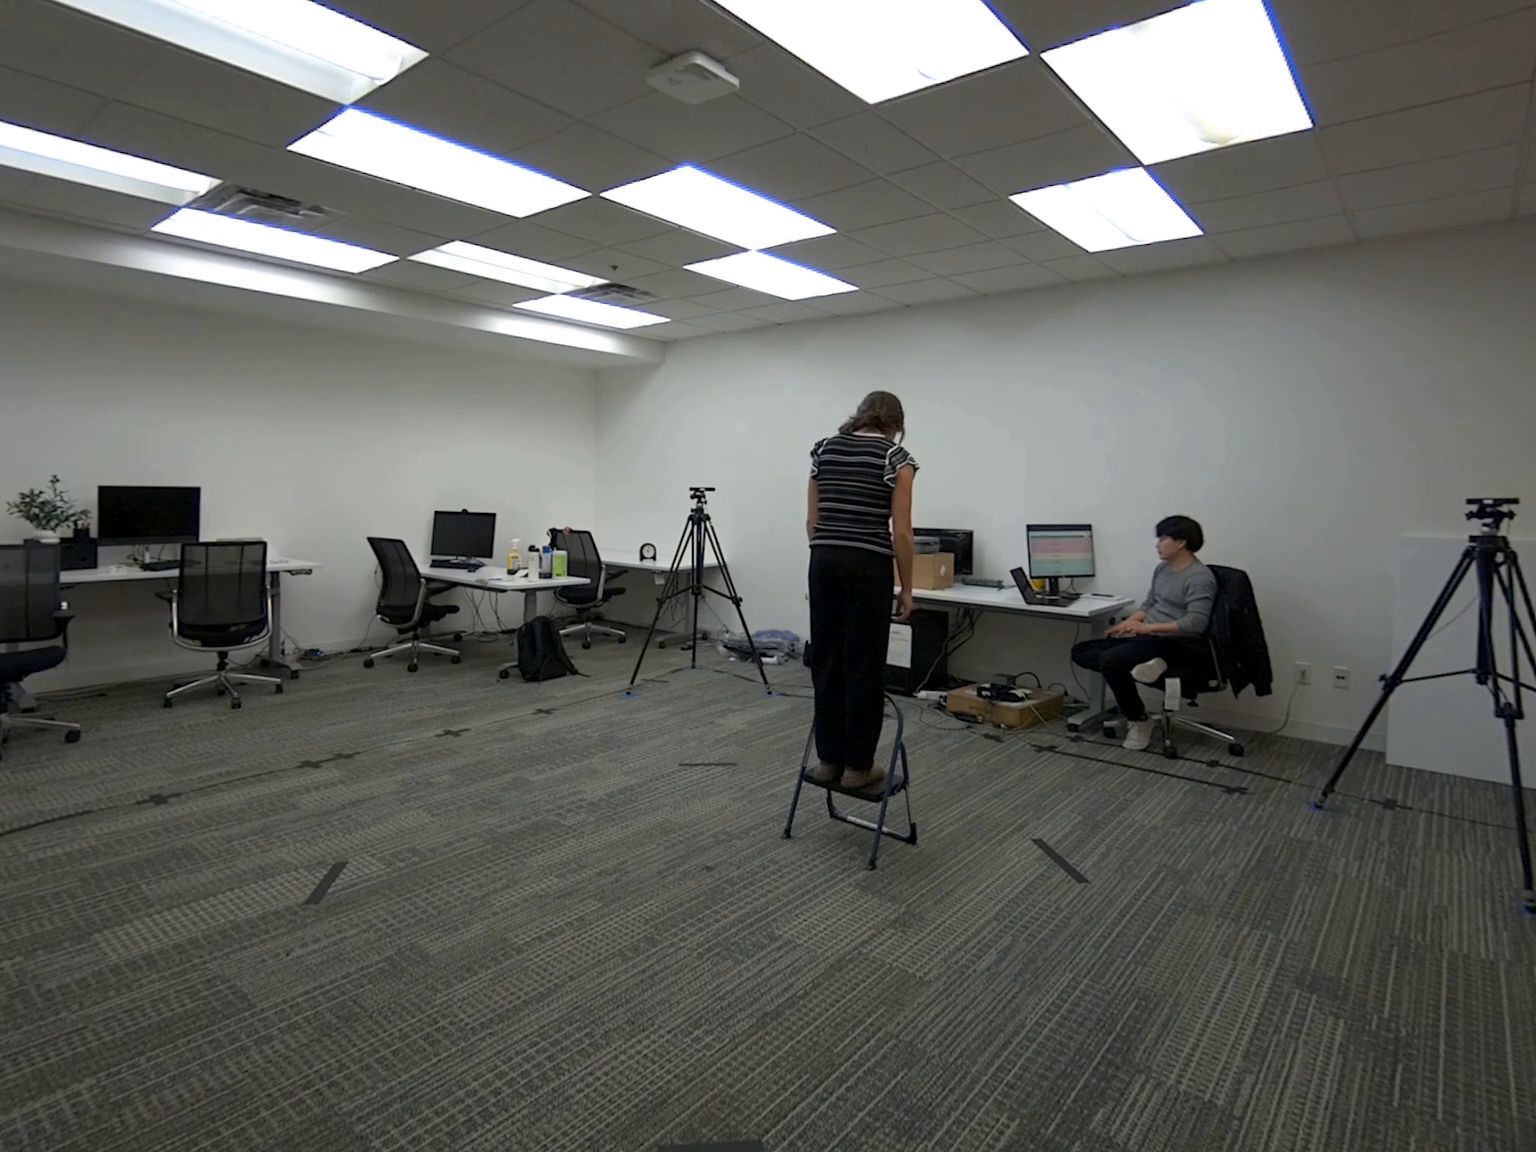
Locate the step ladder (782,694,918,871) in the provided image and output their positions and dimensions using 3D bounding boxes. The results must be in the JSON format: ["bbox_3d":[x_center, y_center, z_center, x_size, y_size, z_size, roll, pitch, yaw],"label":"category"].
[{"bbox_3d":[0.327,0.750,3.377,0.445,0.604,0.339,5,4,40],"label":"step ladder"}]
